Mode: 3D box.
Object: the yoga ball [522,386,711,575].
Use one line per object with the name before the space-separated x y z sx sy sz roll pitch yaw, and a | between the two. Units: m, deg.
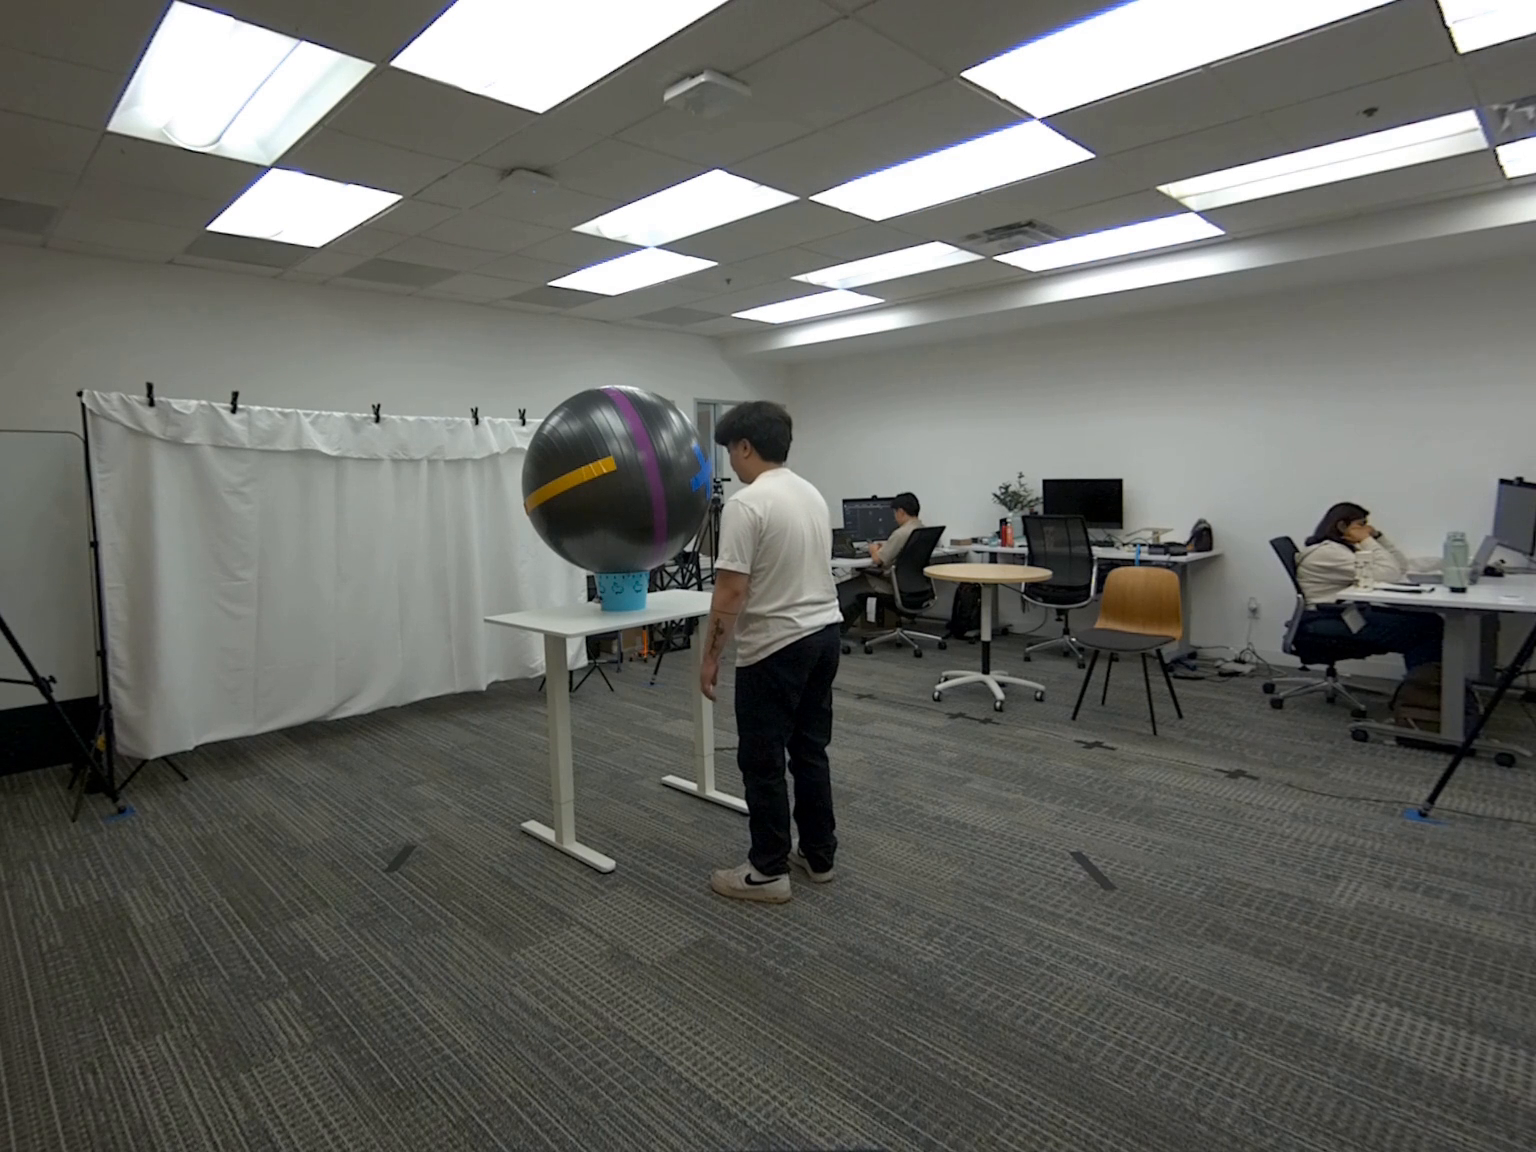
yoga ball | -0.602 -0.370 3.429 0.757 0.755 0.762 -1 5 -2
